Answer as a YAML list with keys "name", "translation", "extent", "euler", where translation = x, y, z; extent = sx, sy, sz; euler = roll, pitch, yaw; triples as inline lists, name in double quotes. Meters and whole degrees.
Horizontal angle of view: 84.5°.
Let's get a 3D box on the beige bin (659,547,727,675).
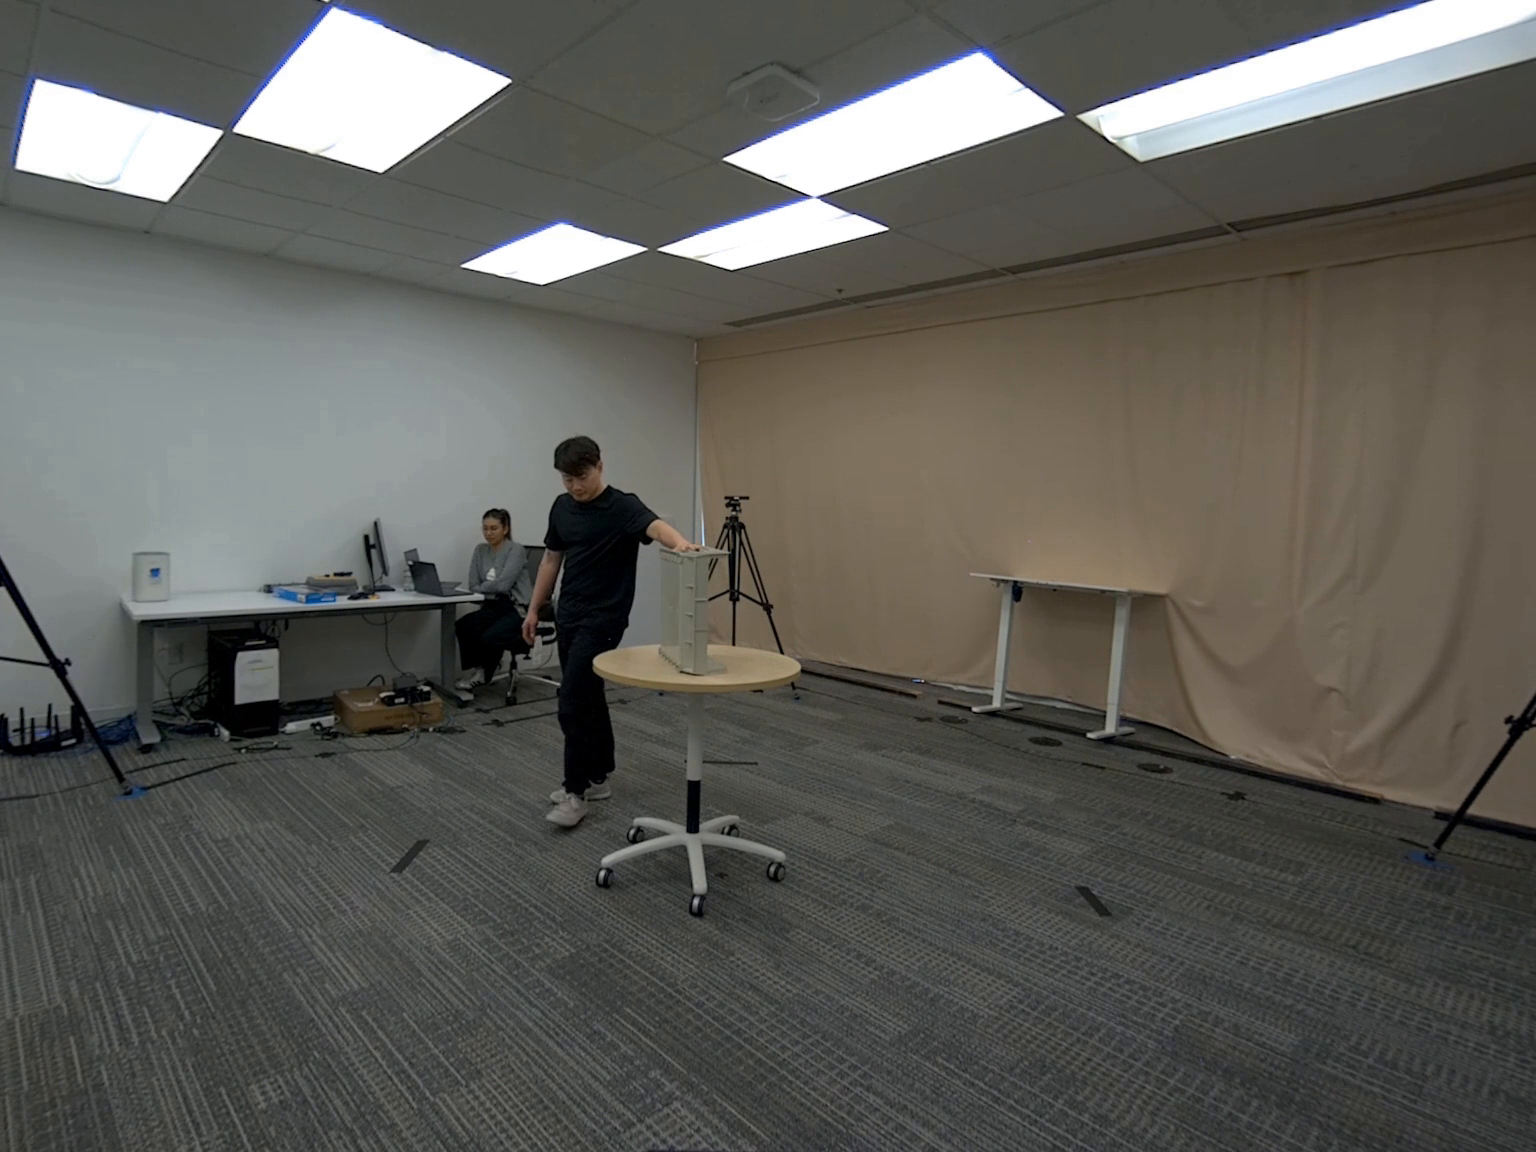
- name: "beige bin"
  translation: [-0.269, 0.114, 3.042]
  extent: [0.186, 0.421, 0.384]
  euler: [-1, 5, -20]
